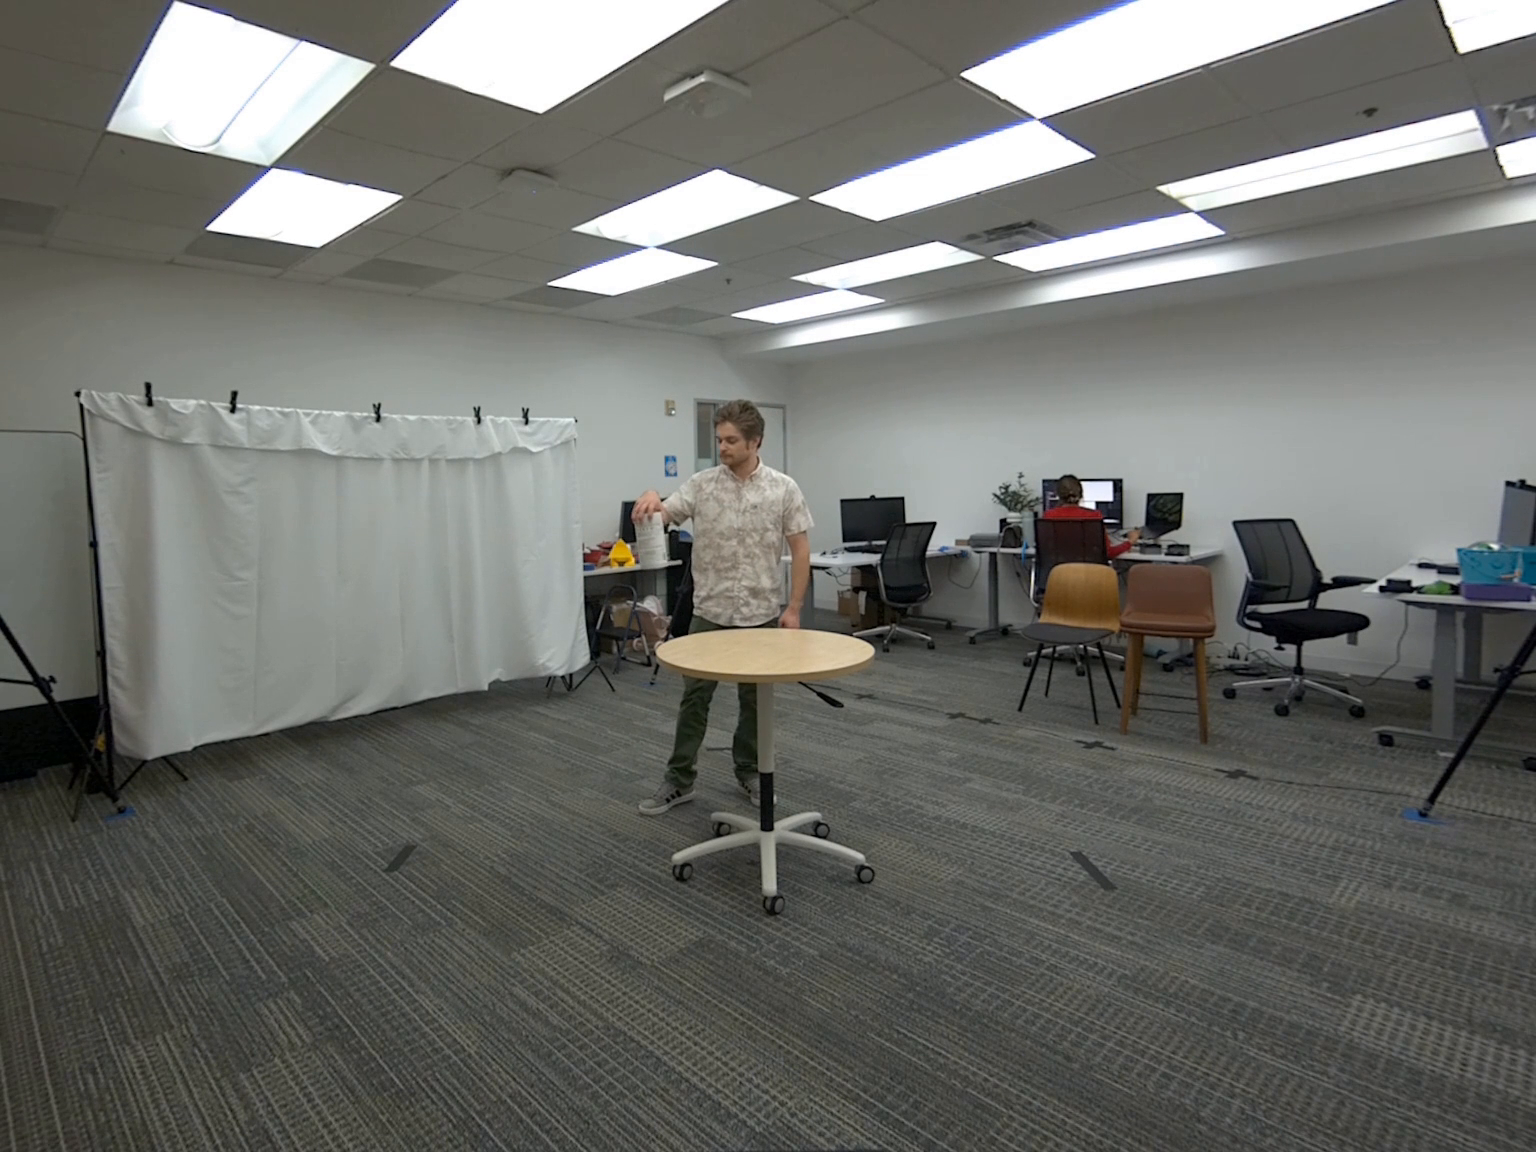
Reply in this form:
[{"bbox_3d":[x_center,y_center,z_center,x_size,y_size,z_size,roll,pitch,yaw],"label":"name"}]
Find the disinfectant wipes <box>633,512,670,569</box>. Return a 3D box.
[{"bbox_3d":[-0.456,-0.136,3.331,0.118,0.216,0.119,-4,8,-1],"label":"disinfectant wipes"}]
